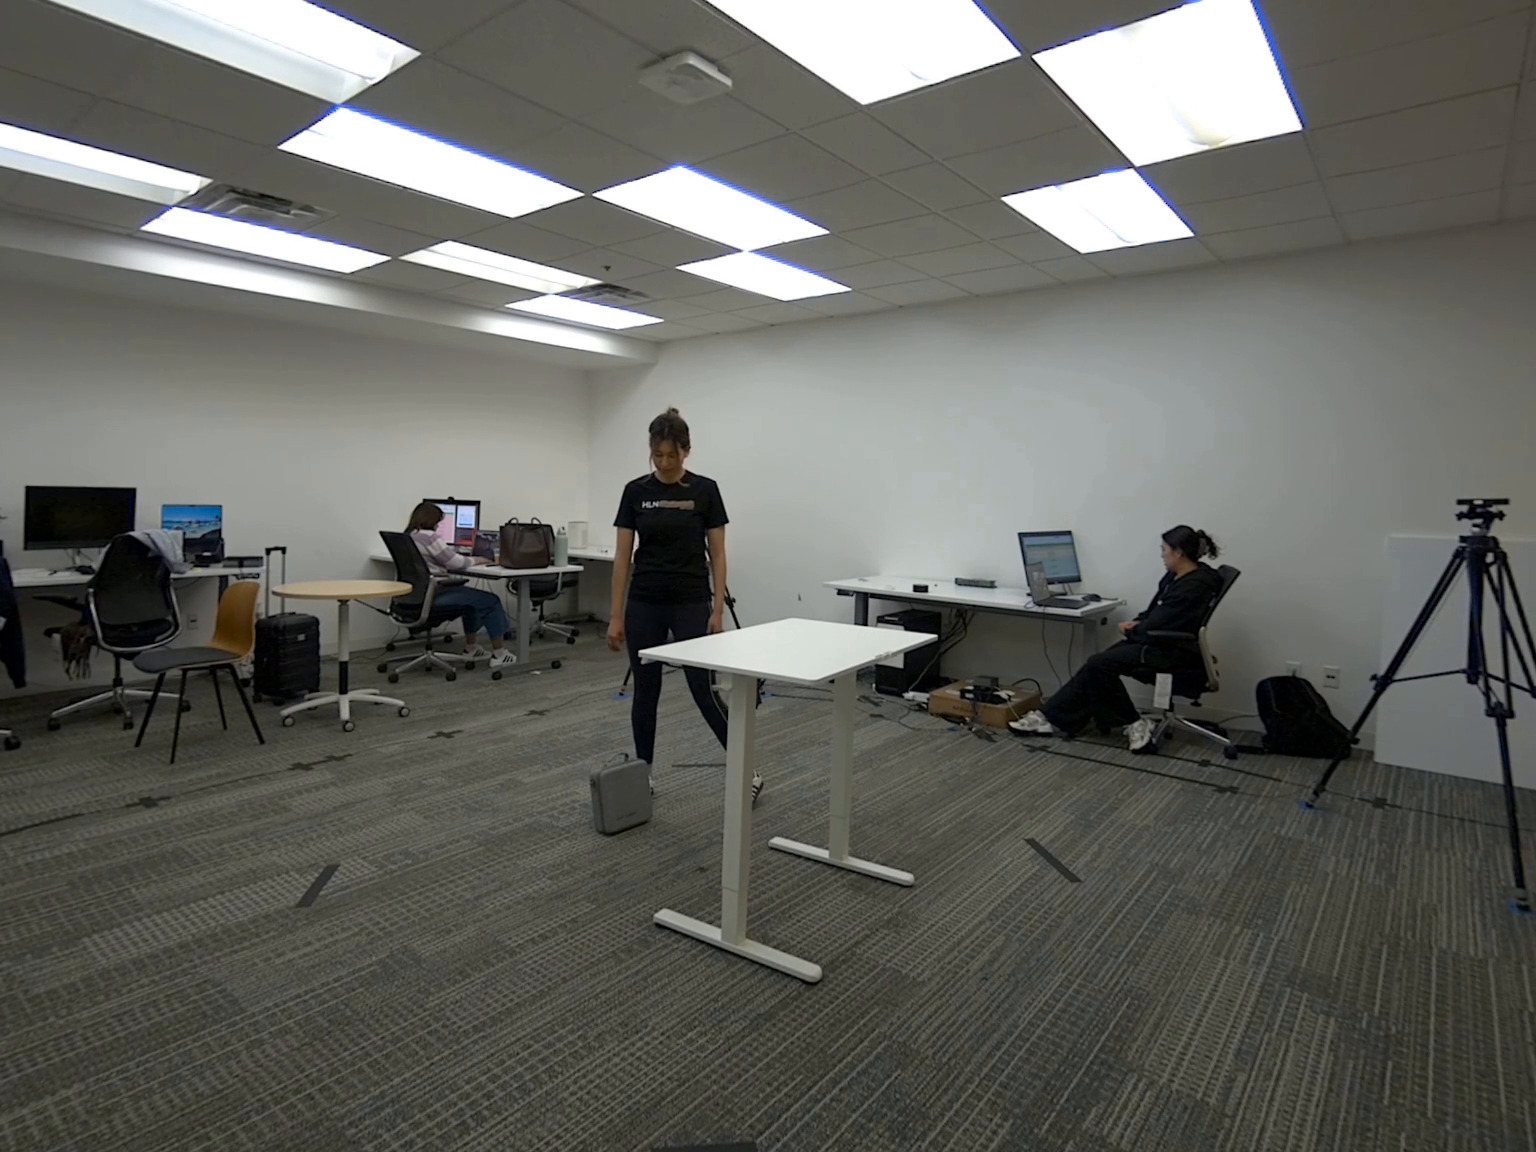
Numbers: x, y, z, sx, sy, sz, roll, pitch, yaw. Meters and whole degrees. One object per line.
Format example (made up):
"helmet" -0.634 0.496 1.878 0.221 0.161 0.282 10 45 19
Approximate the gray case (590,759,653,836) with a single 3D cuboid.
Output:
"gray case" -0.618 0.896 3.500 0.107 0.262 0.249 -10 -5 43
